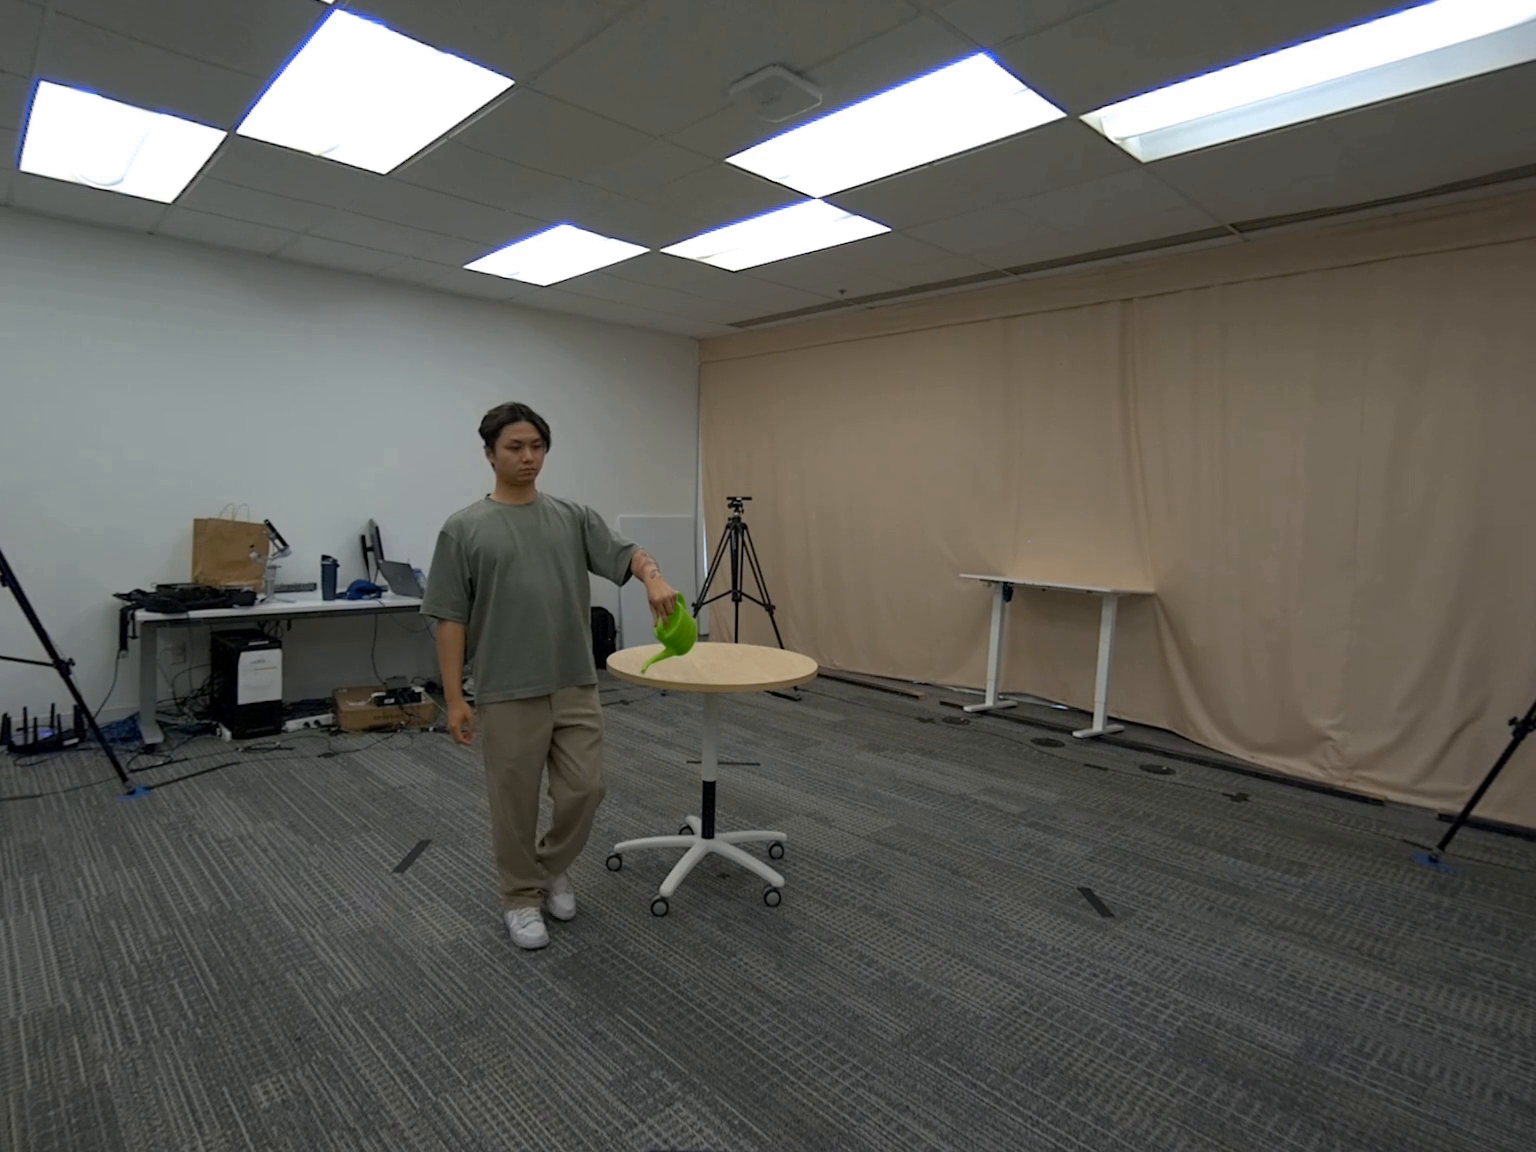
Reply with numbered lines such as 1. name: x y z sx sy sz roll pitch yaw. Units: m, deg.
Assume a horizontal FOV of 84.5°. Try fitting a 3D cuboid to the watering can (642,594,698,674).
1. watering can: -0.310 0.190 2.505 0.100 0.279 0.171 17 -22 29
